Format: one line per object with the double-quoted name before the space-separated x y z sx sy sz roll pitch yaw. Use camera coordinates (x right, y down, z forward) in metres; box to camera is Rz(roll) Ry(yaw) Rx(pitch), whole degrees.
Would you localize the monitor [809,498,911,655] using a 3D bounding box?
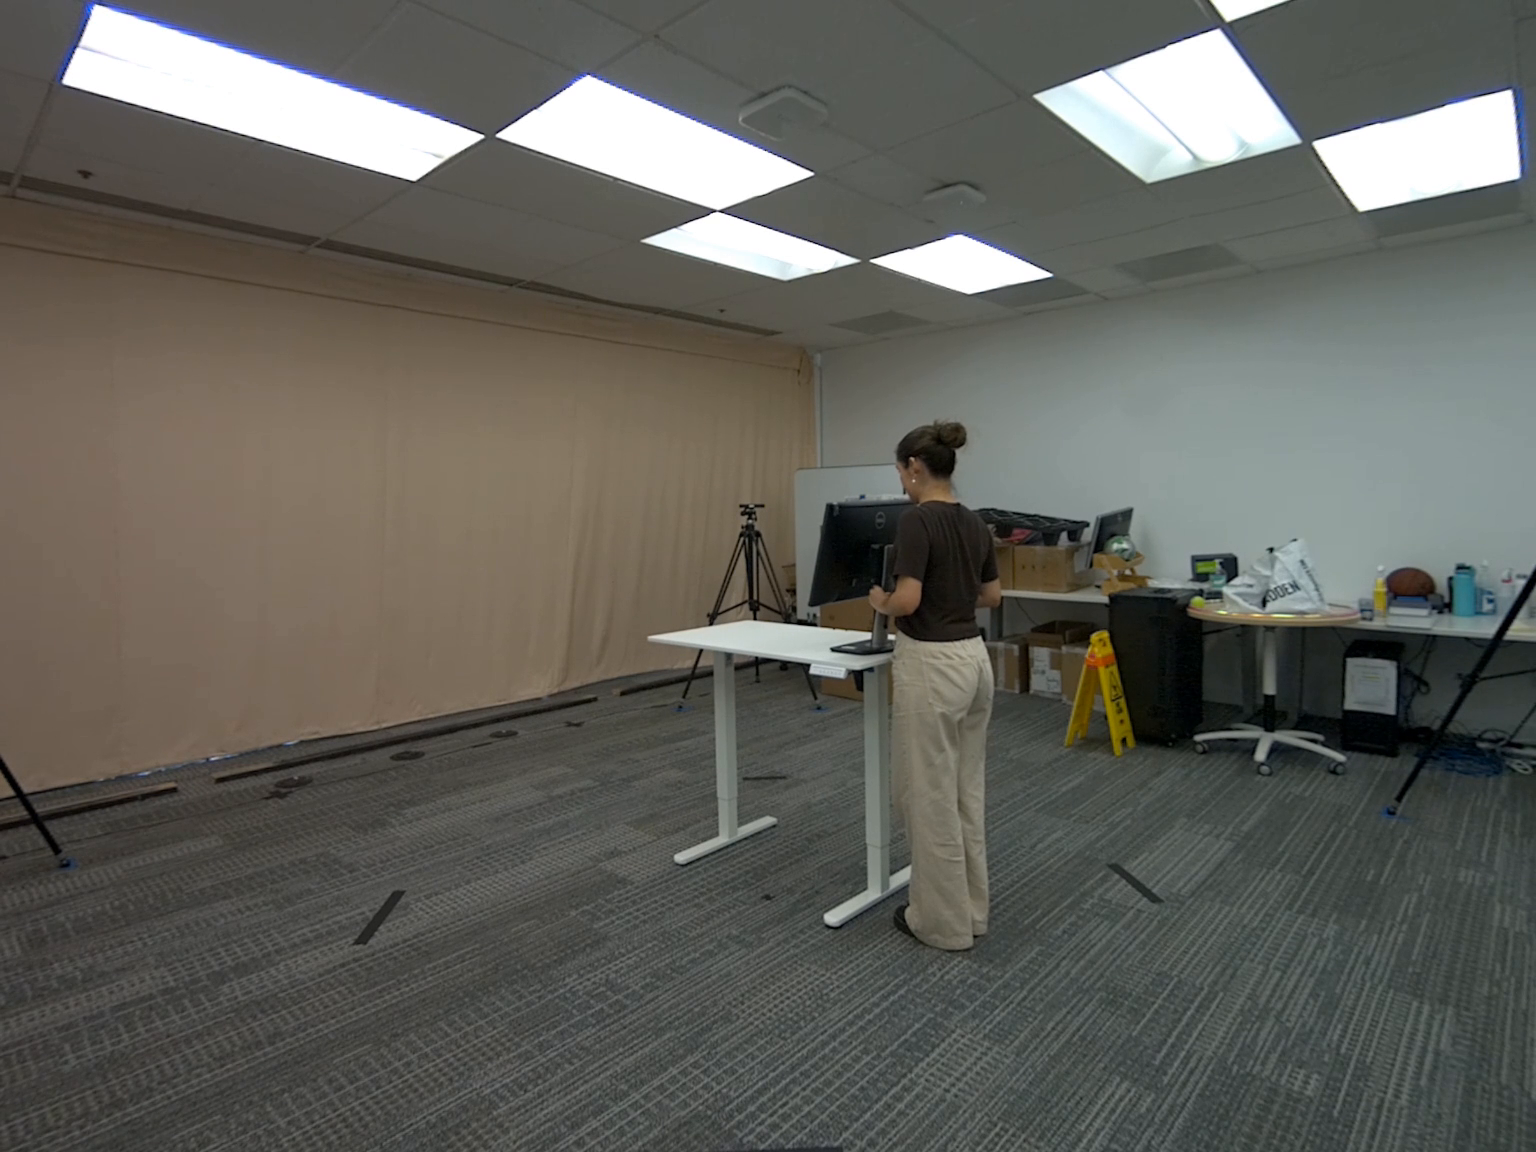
"monitor" 0.369 -0.003 2.911 0.180 0.515 0.515 -2 4 41
